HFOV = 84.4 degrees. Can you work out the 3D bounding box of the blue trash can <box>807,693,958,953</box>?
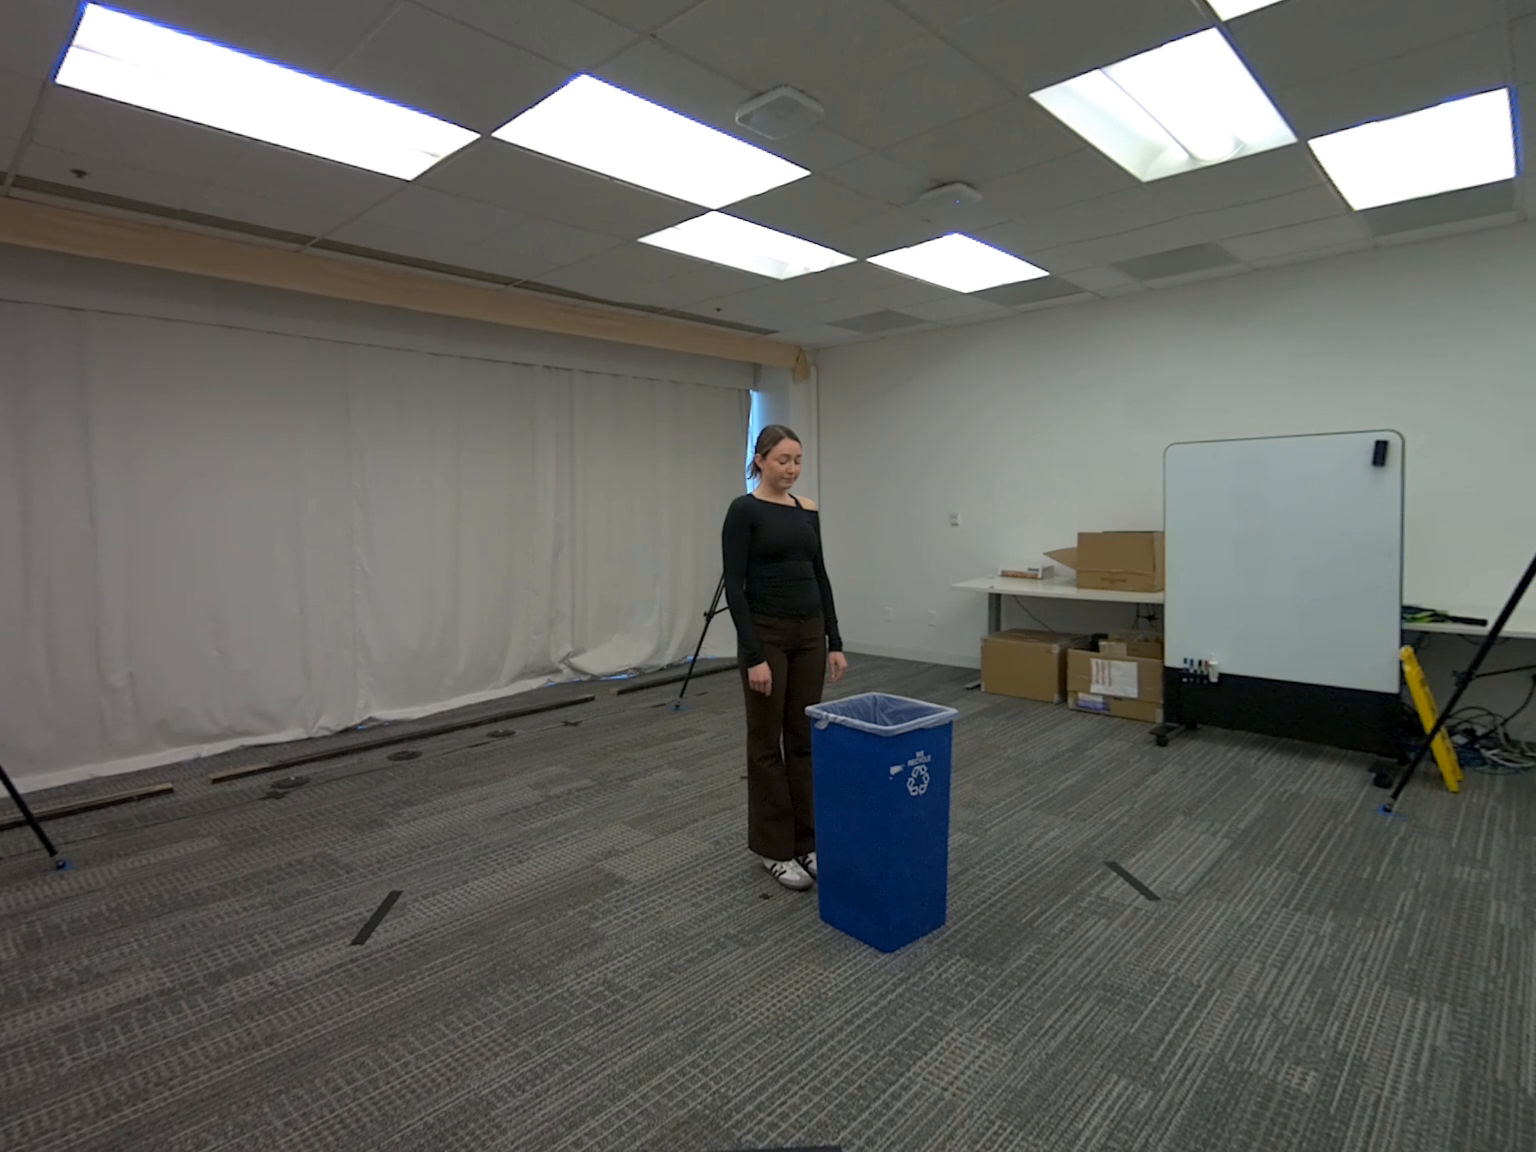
[{"bbox_3d":[0.385,0.790,2.777,0.363,0.712,0.390,-4,5,-40],"label":"blue trash can"}]
